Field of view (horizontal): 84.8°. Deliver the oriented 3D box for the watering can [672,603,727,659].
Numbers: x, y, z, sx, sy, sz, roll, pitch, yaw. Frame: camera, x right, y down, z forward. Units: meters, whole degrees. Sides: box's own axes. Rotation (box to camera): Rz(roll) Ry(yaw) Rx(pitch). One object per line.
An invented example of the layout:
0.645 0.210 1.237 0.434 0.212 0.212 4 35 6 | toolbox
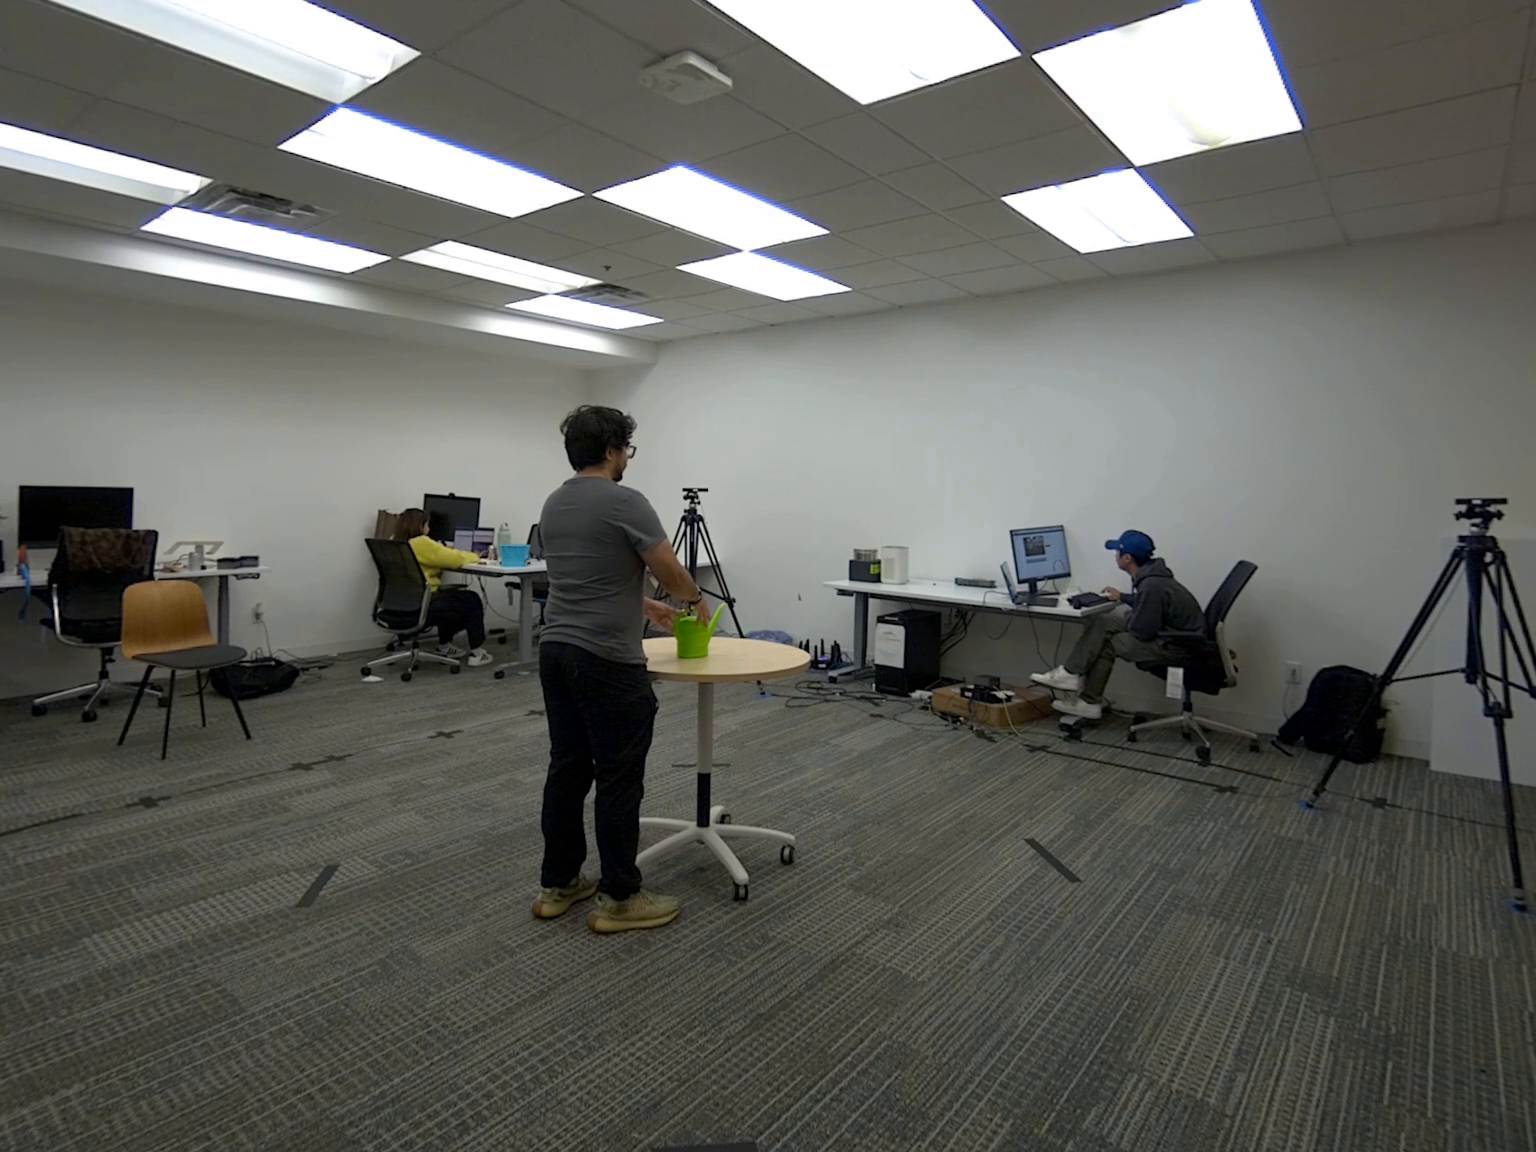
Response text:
-0.246 0.200 3.110 0.270 0.176 0.101 -6 8 -38 | watering can
